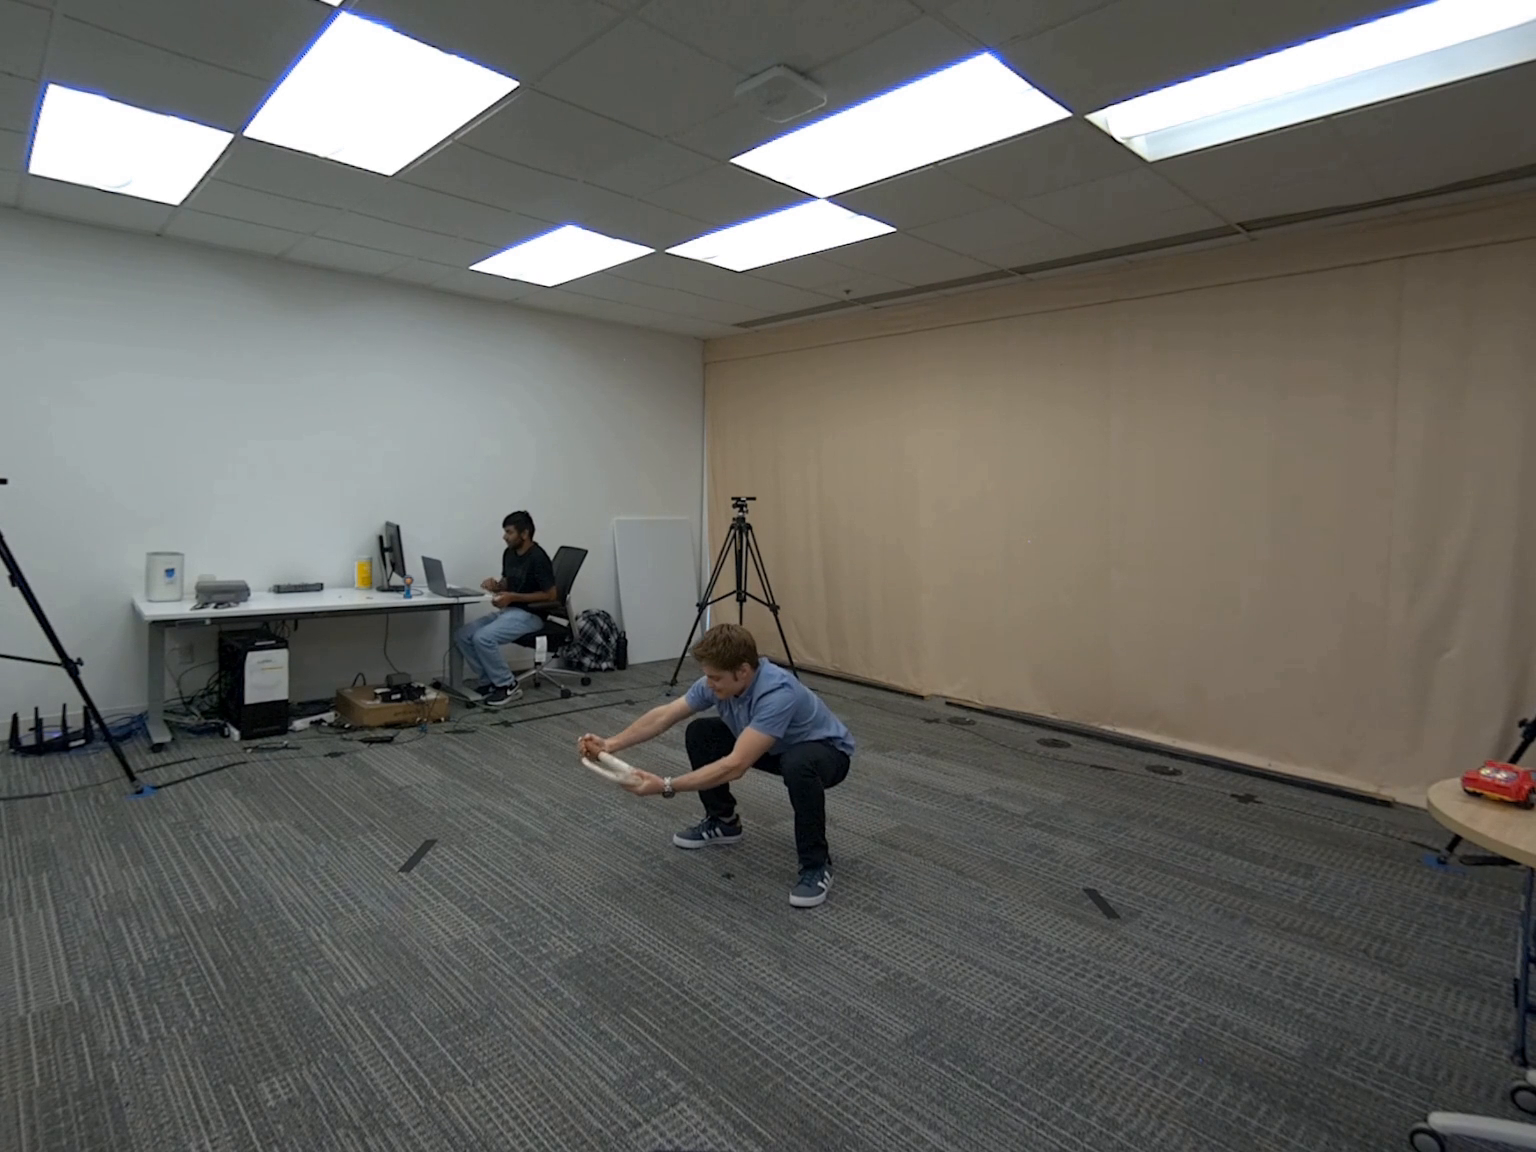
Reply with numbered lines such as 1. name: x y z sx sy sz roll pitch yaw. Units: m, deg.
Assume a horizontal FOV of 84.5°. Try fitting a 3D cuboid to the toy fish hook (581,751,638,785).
1. toy fish hook: -0.625 0.672 3.084 0.218 0.048 0.520 28 -8 -34
